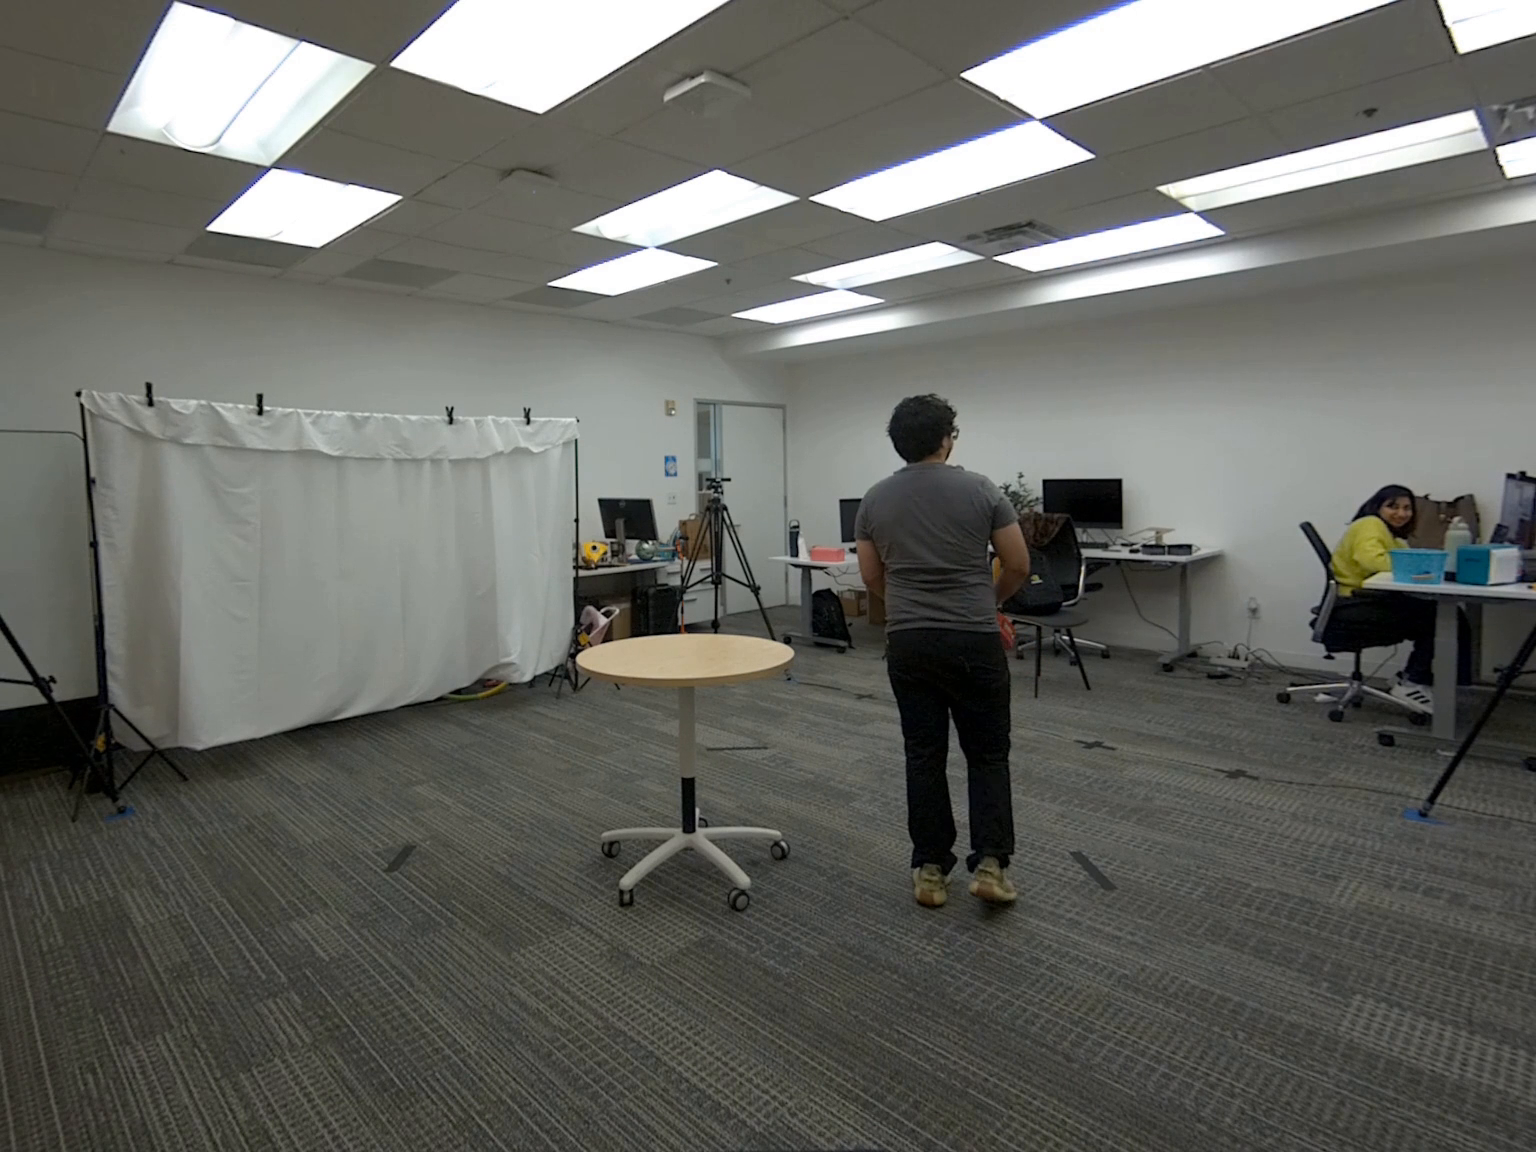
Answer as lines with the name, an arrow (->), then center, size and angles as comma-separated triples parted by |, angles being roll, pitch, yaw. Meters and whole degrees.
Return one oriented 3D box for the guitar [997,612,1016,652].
guitar -> 0.668, 0.190, 3.102 | 0.187, 0.071, 0.510 | 41, -25, -27
